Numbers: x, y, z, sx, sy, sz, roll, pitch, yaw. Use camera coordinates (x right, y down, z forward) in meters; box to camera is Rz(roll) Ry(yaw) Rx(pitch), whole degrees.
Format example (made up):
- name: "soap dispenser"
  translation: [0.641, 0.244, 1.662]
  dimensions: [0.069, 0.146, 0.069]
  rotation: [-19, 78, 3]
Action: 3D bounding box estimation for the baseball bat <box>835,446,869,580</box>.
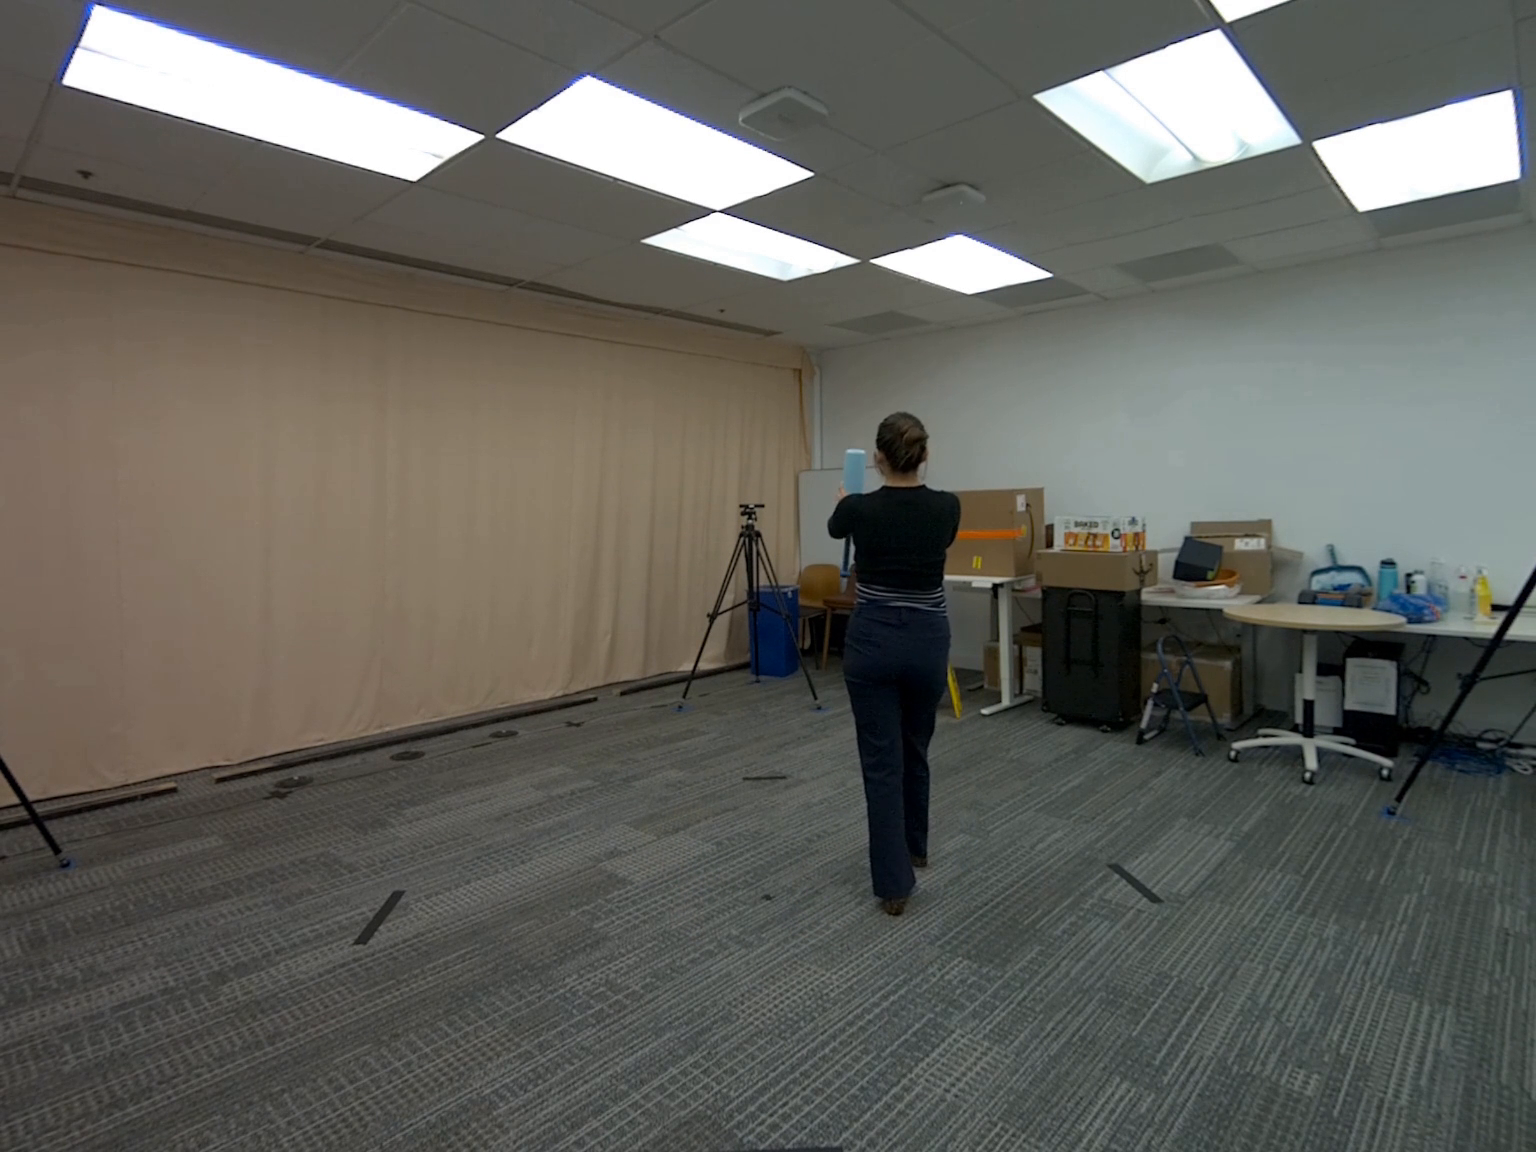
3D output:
- name: "baseball bat"
  translation: [0.344, -0.260, 3.509]
  dimensions: [0.089, 0.539, 0.090]
  rotation: [2, 13, -2]
